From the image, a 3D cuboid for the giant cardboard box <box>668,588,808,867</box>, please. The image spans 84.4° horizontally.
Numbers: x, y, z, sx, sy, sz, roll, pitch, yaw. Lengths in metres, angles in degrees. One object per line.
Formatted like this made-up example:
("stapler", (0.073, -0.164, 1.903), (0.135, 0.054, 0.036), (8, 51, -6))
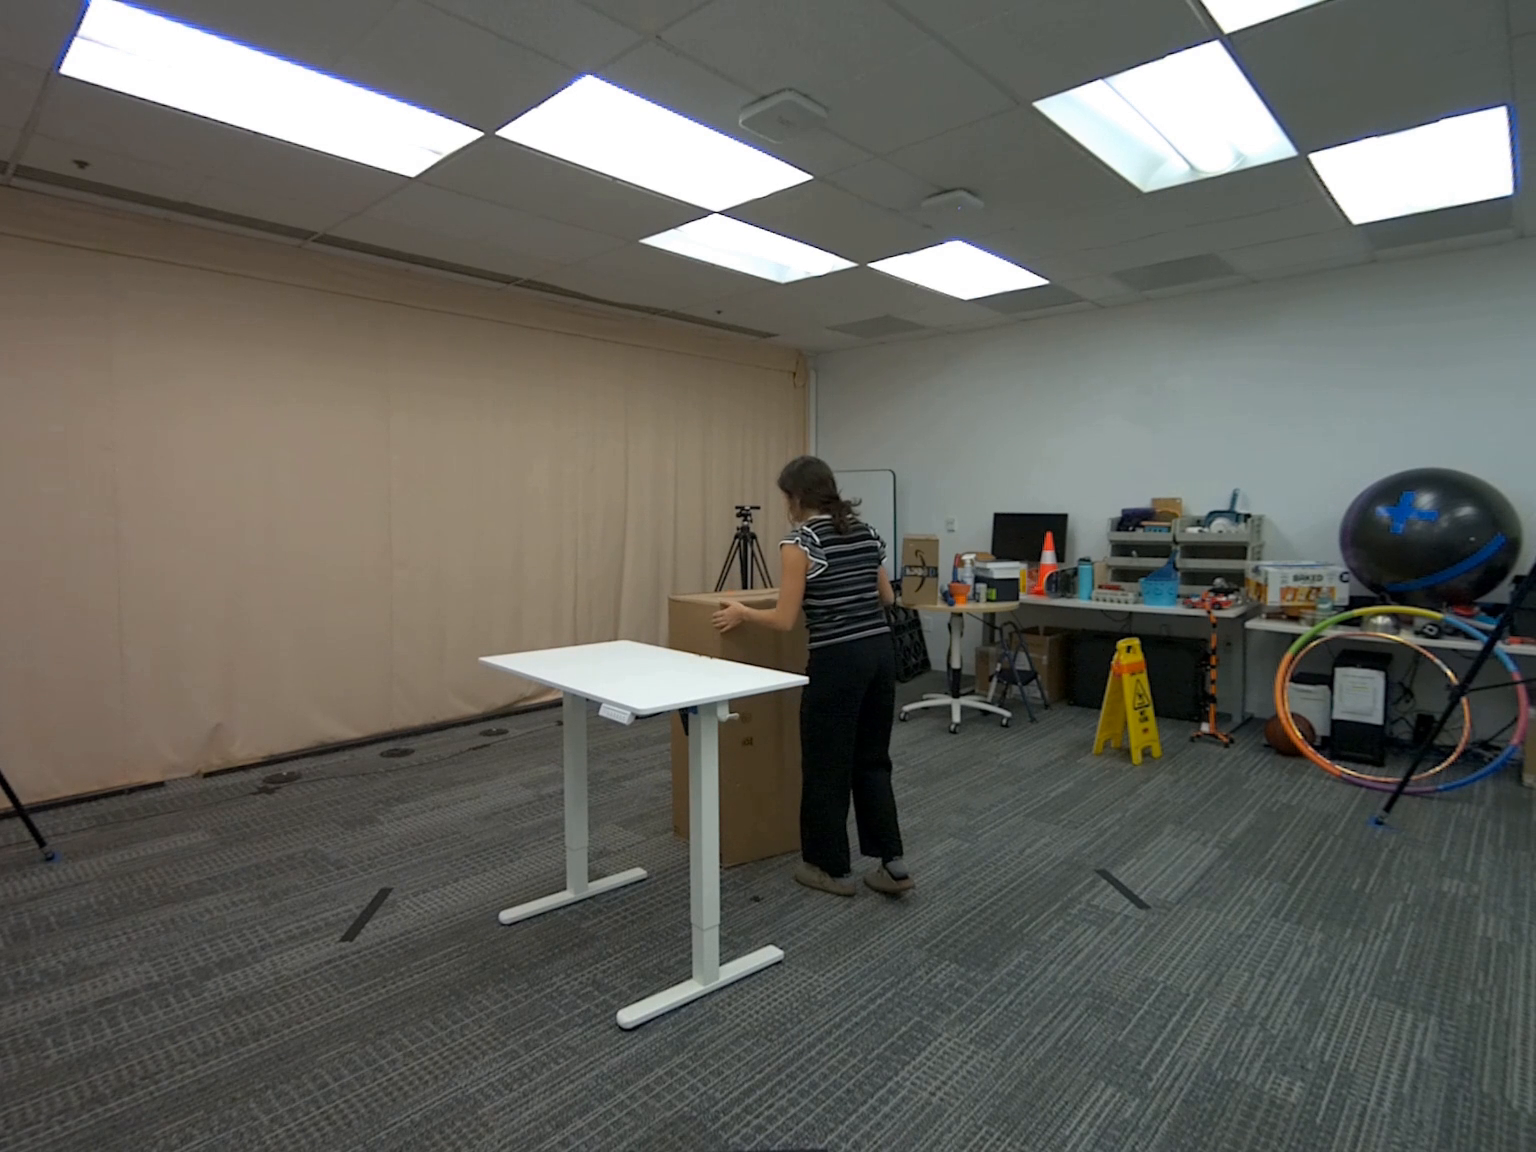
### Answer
("giant cardboard box", (-0.064, 0.587, 3.528), (0.561, 1.024, 0.439), (-2, 3, -32))
